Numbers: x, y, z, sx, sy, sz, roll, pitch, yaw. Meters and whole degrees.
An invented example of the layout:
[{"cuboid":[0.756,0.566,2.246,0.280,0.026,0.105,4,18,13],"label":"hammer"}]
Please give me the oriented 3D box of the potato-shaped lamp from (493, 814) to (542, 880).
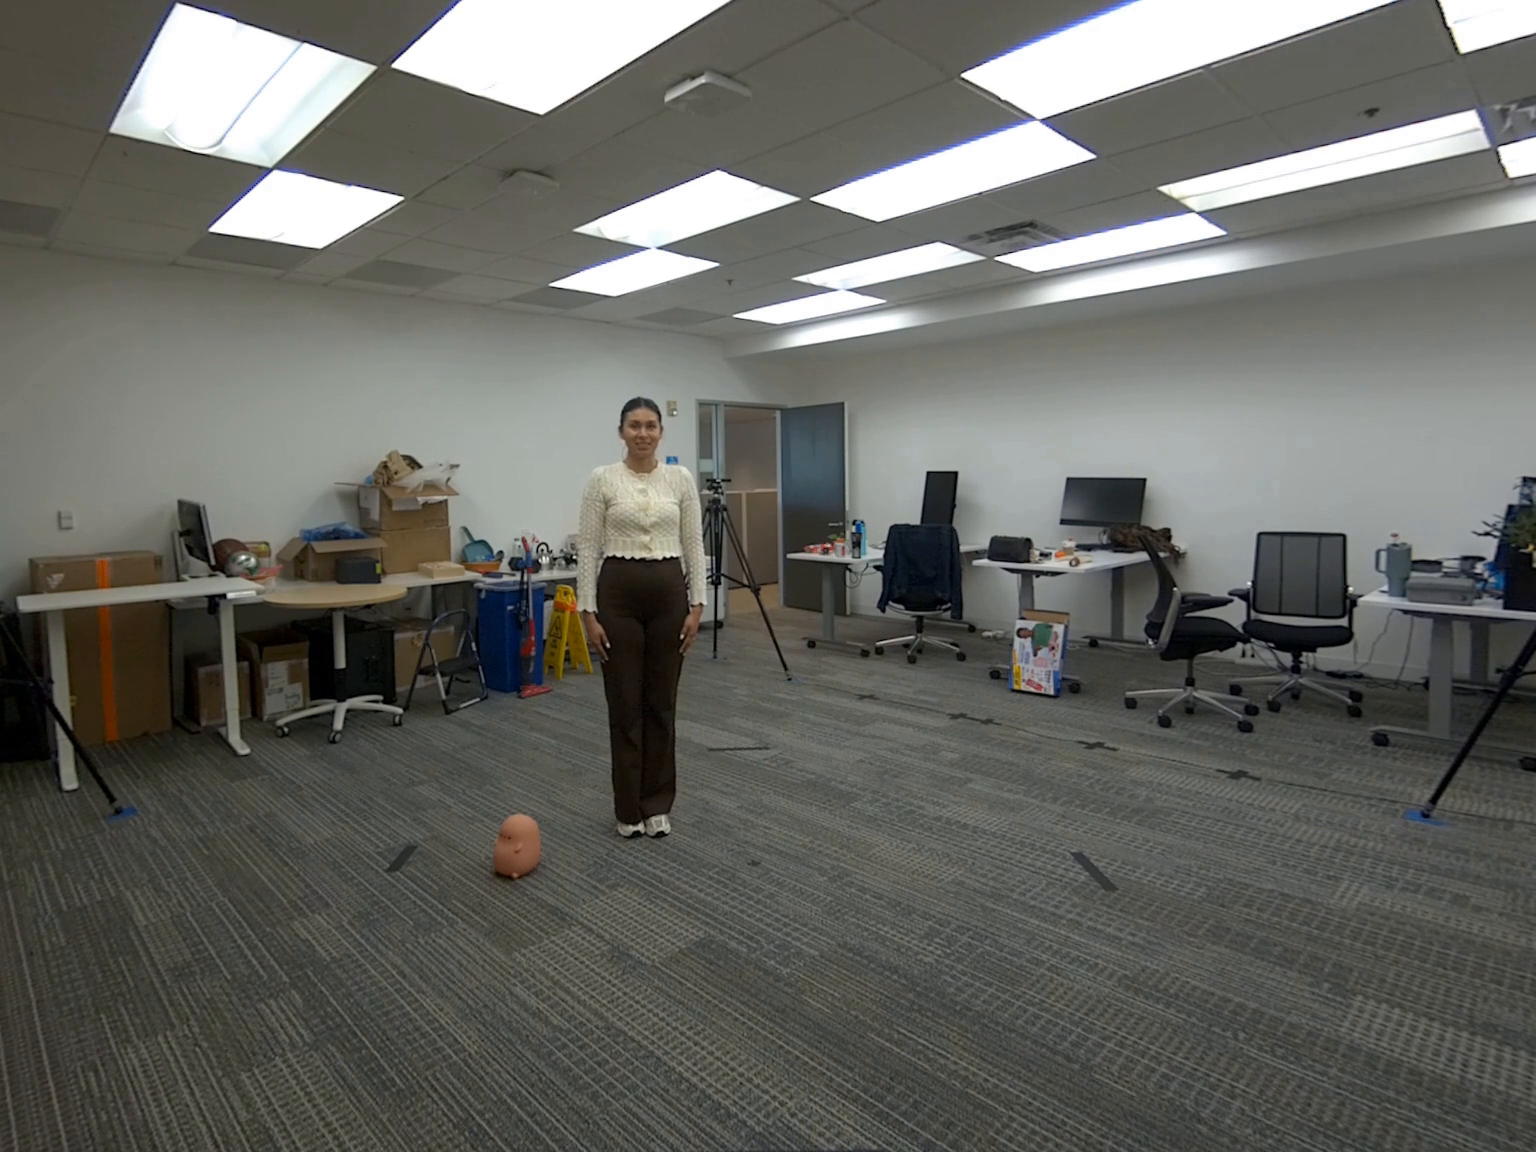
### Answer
[{"cuboid":[-0.899,0.963,3.087,0.169,0.197,0.168,3,8,34],"label":"potato-shaped lamp"}]
